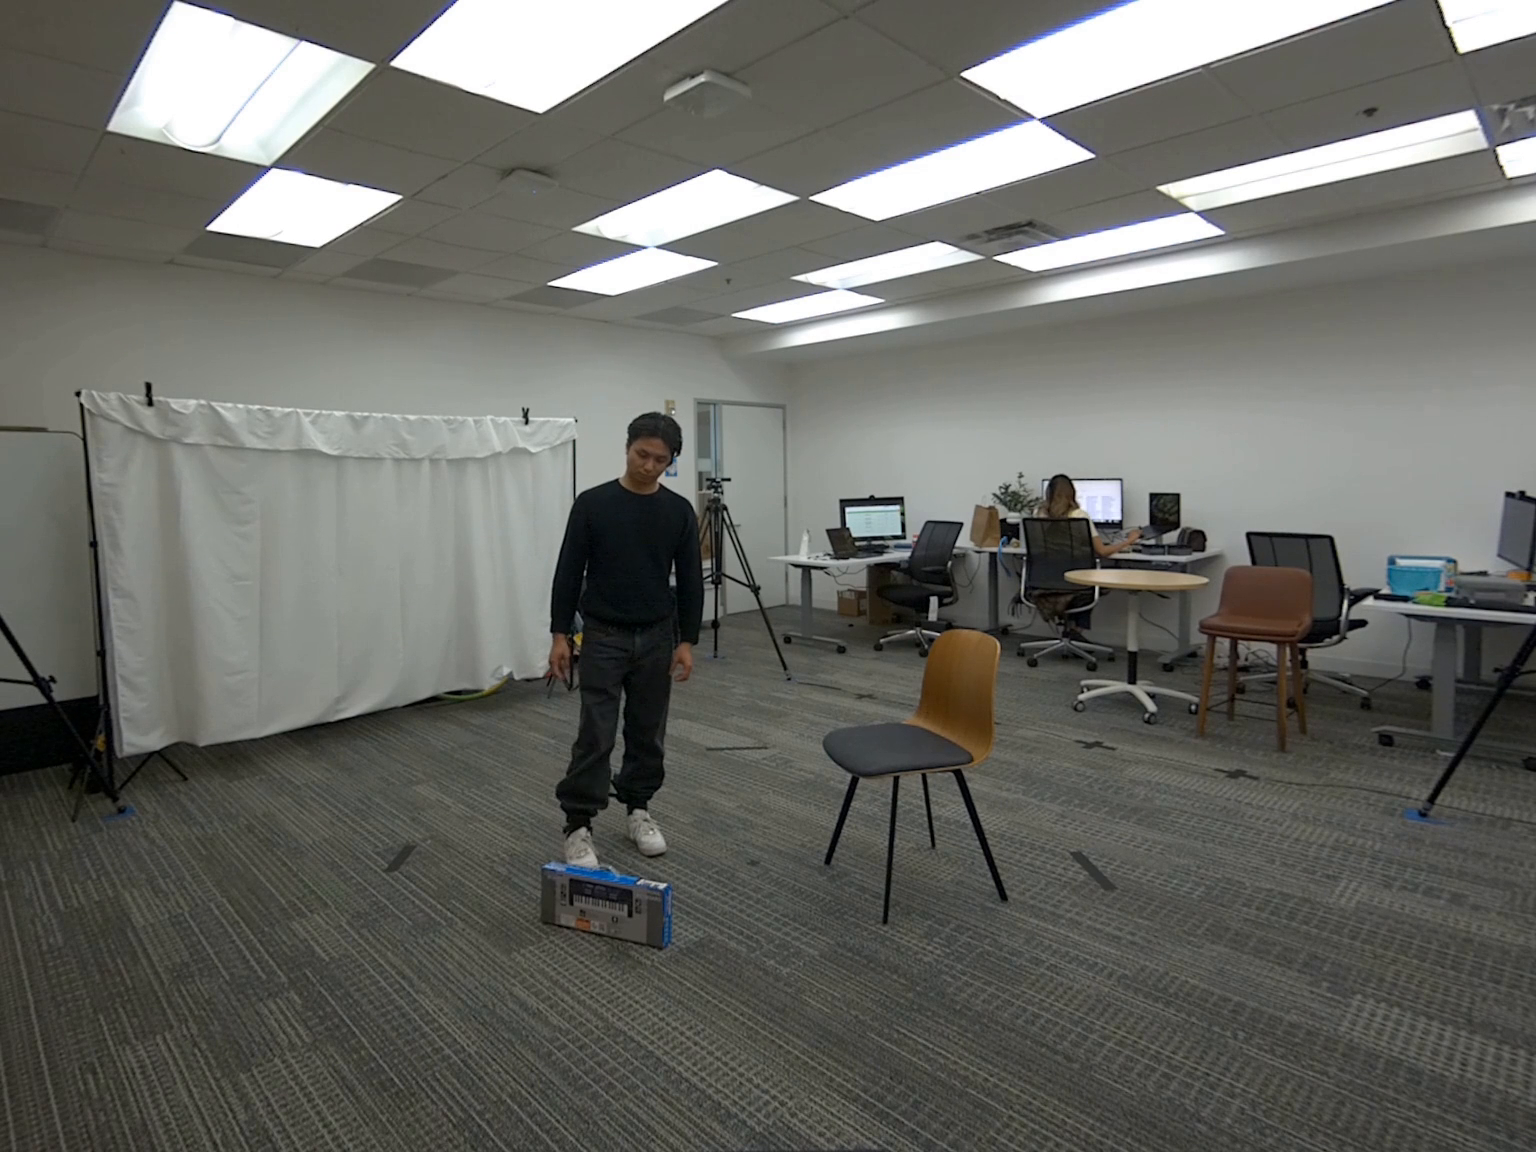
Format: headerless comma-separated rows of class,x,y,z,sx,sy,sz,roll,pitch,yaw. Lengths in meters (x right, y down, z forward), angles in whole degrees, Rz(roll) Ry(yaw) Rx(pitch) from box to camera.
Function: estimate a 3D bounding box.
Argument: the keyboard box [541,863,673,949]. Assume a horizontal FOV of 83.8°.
keyboard box,-0.507,1.016,2.654,0.446,0.176,0.058,2,0,22
